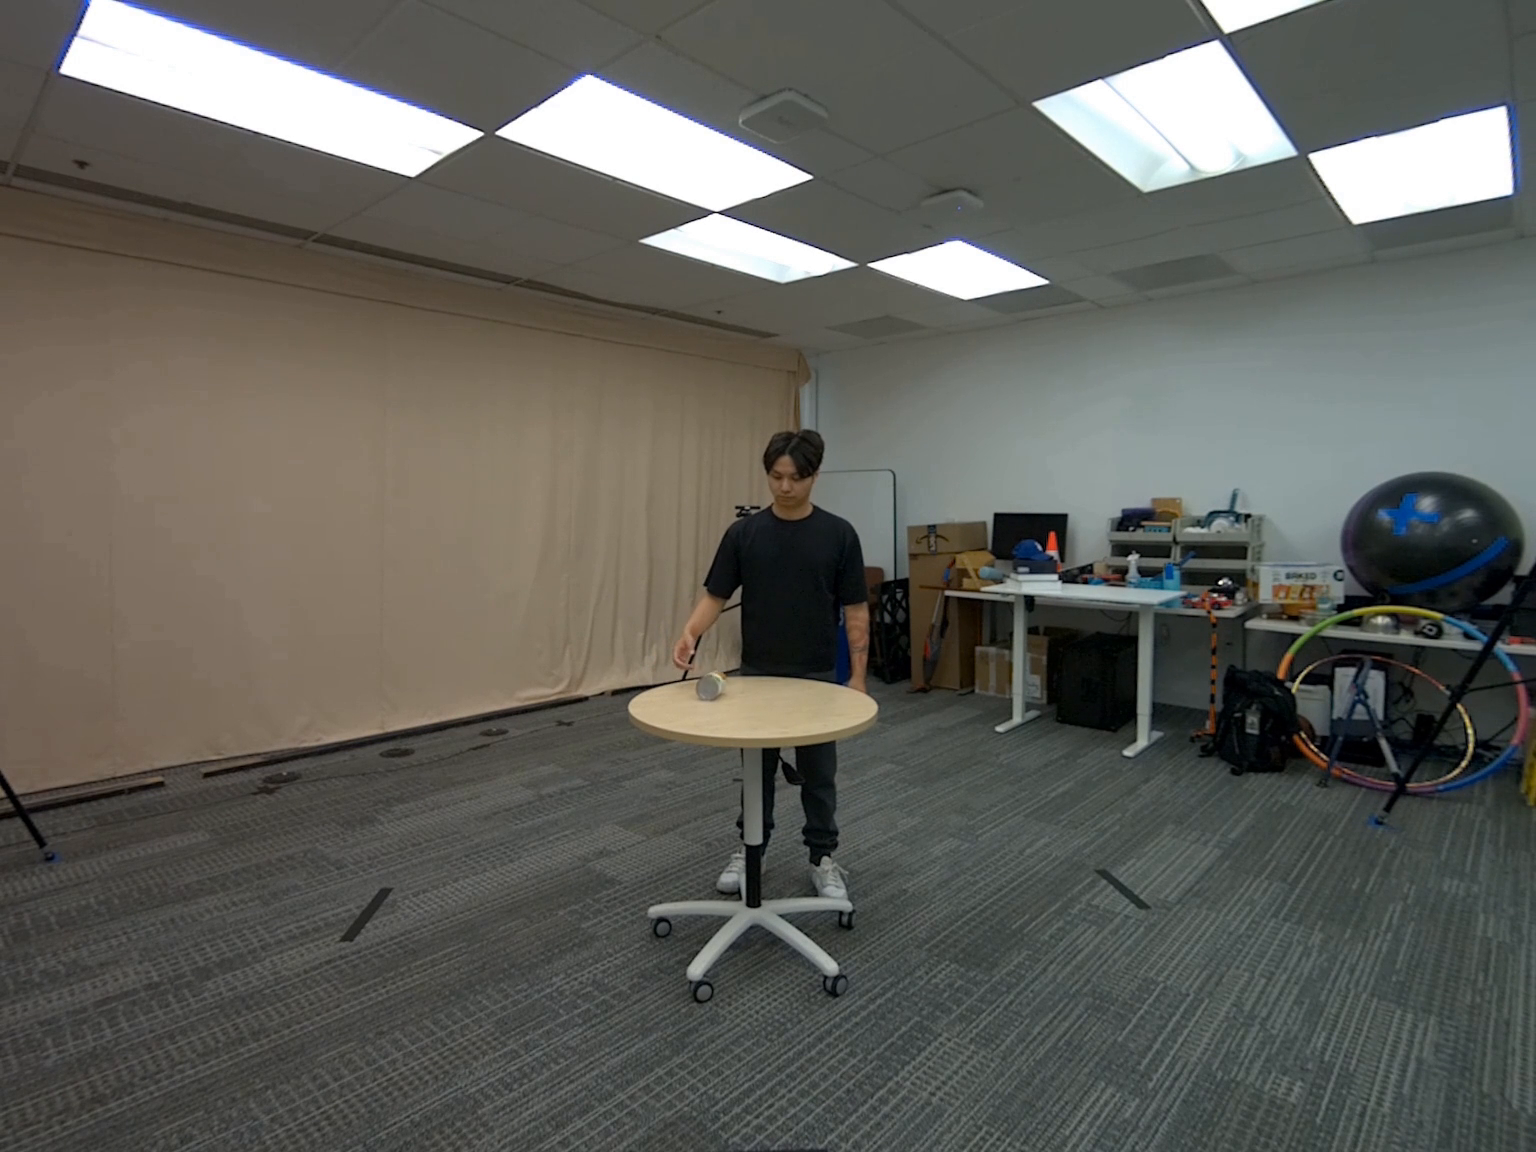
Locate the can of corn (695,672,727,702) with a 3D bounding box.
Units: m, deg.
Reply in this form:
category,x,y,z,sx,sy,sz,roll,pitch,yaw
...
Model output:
category,x,y,z,sx,sy,sz,roll,pitch,yaw
can of corn,-0.177,0.351,2.680,0.074,0.074,0.110,0,3,4
